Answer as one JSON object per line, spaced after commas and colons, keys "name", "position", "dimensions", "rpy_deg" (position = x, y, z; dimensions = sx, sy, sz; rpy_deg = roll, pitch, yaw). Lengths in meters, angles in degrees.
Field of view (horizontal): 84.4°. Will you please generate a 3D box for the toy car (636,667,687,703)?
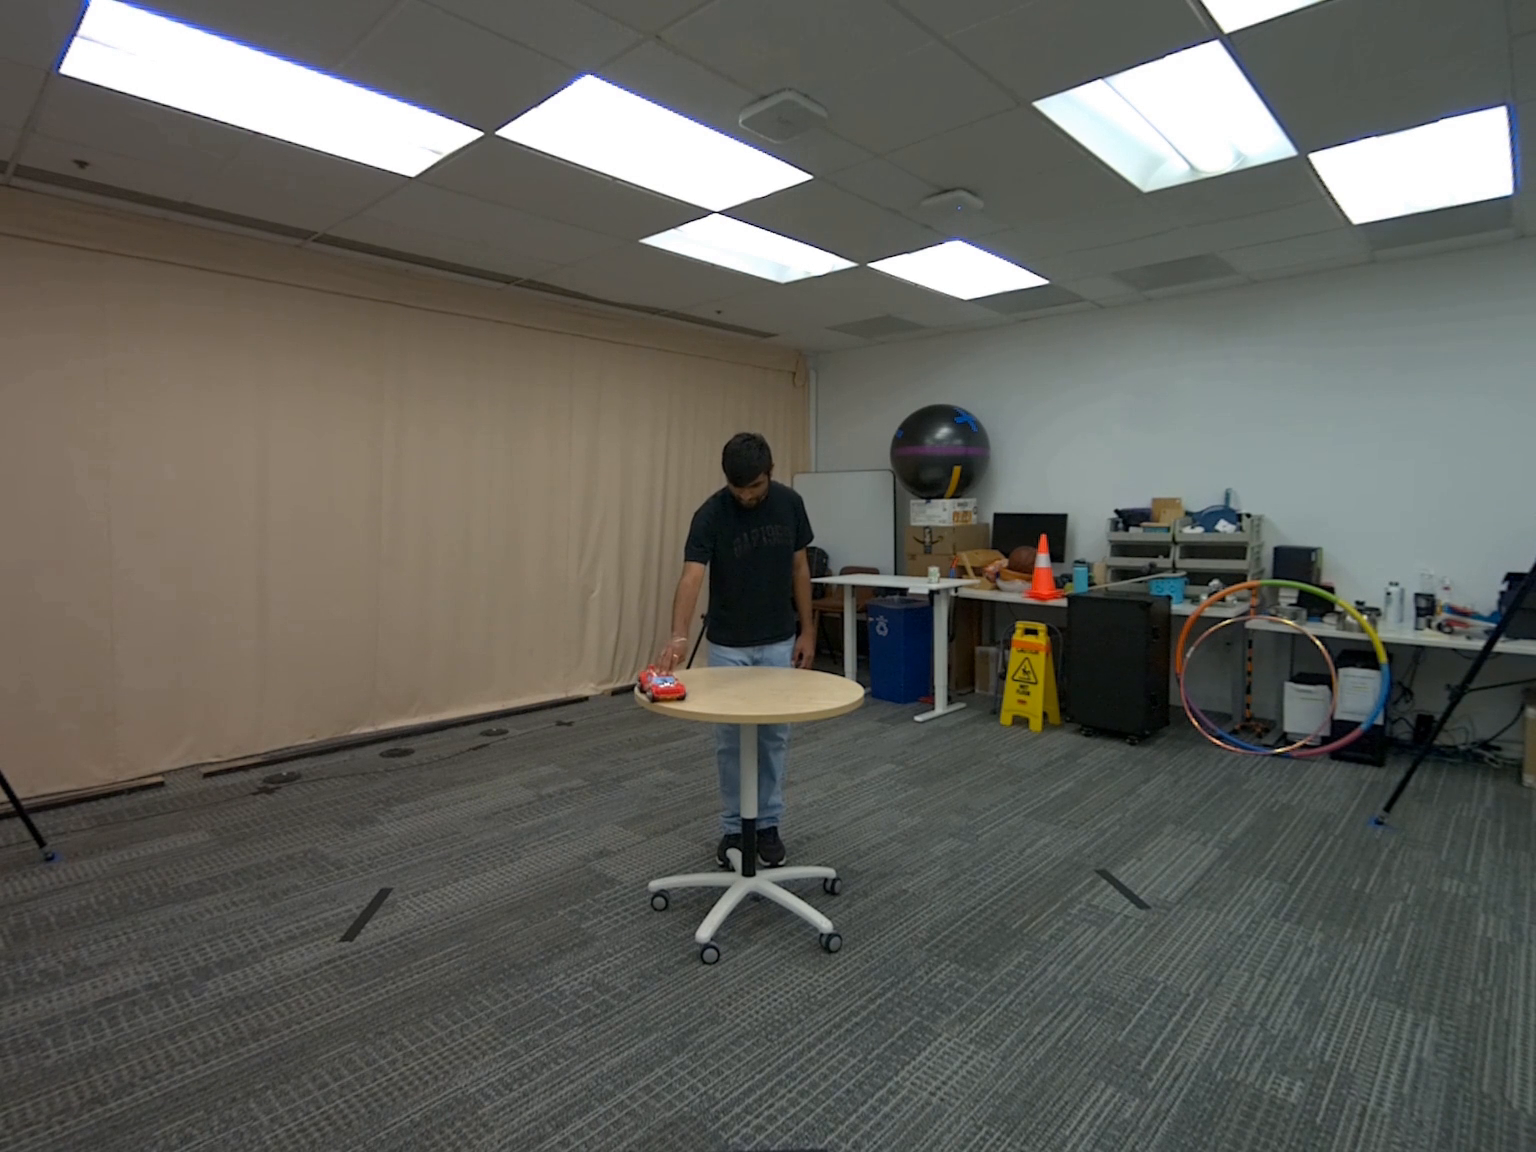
{"name": "toy car", "position": [-0.349, 0.353, 2.707], "dimensions": [0.128, 0.082, 0.261], "rpy_deg": [-1, 16, -18]}
